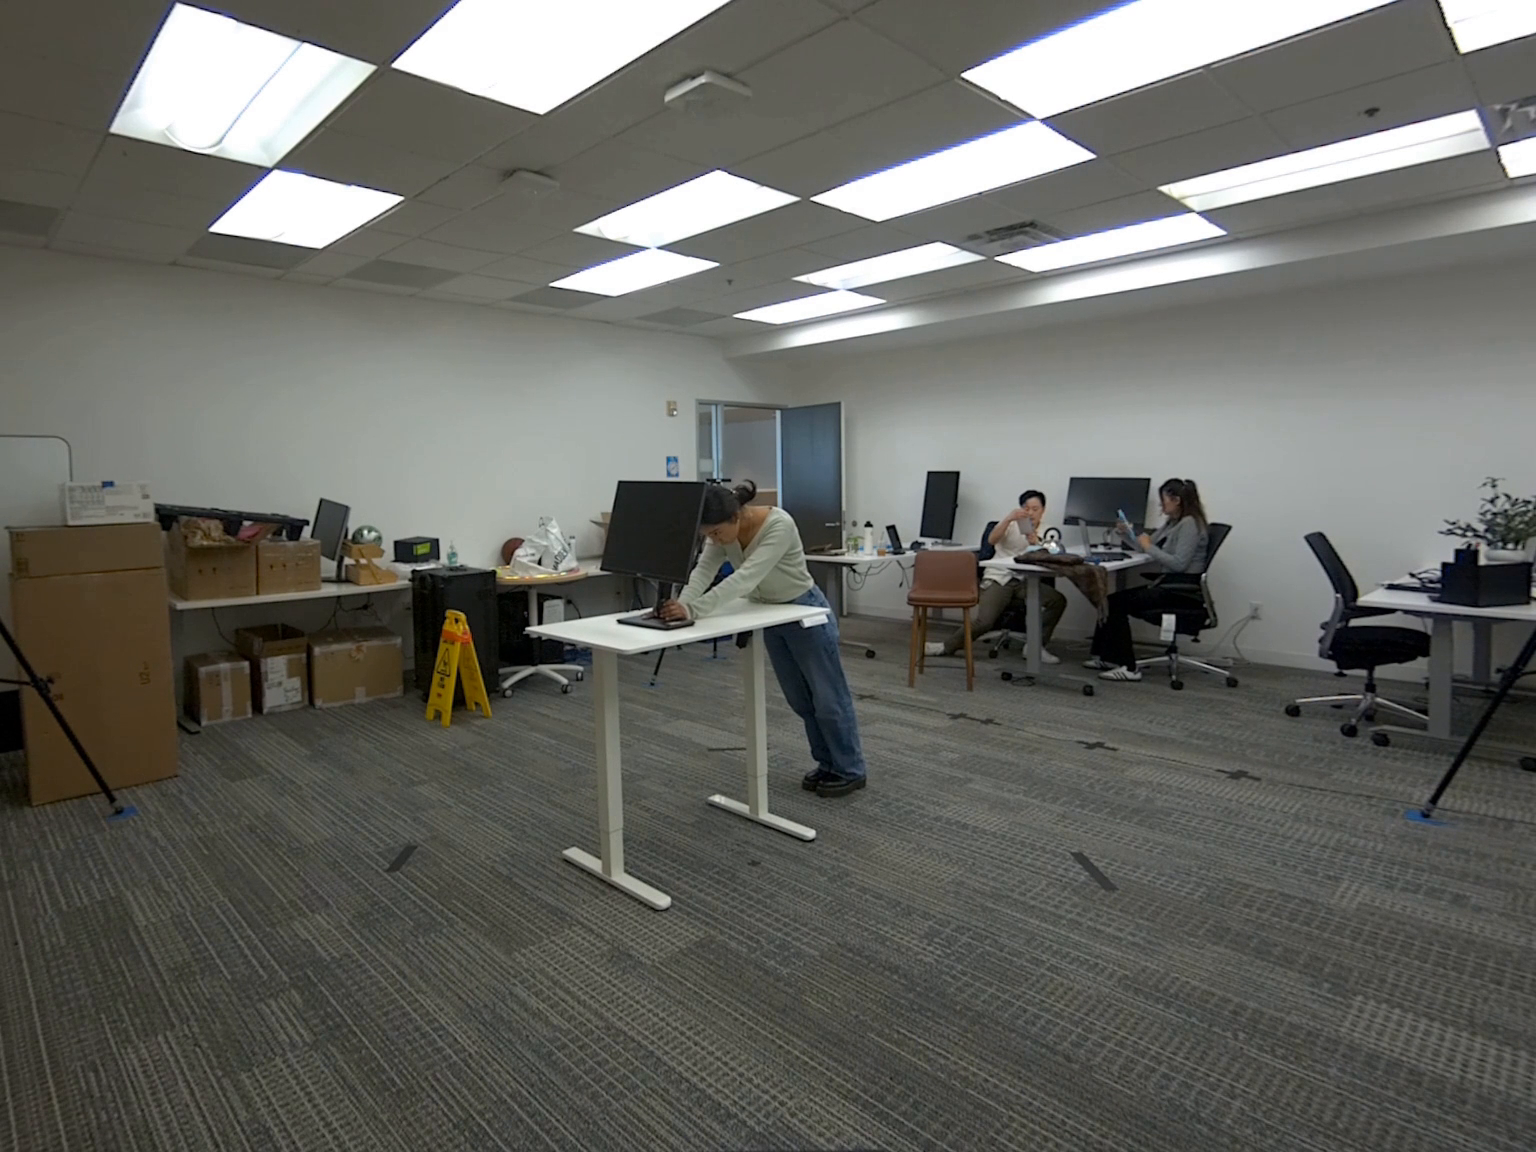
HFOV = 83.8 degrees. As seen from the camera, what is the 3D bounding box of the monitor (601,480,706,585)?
[{"bbox_3d":[-0.398,-0.081,3.077,0.182,0.521,0.556,-1,5,-44],"label":"monitor"}]
